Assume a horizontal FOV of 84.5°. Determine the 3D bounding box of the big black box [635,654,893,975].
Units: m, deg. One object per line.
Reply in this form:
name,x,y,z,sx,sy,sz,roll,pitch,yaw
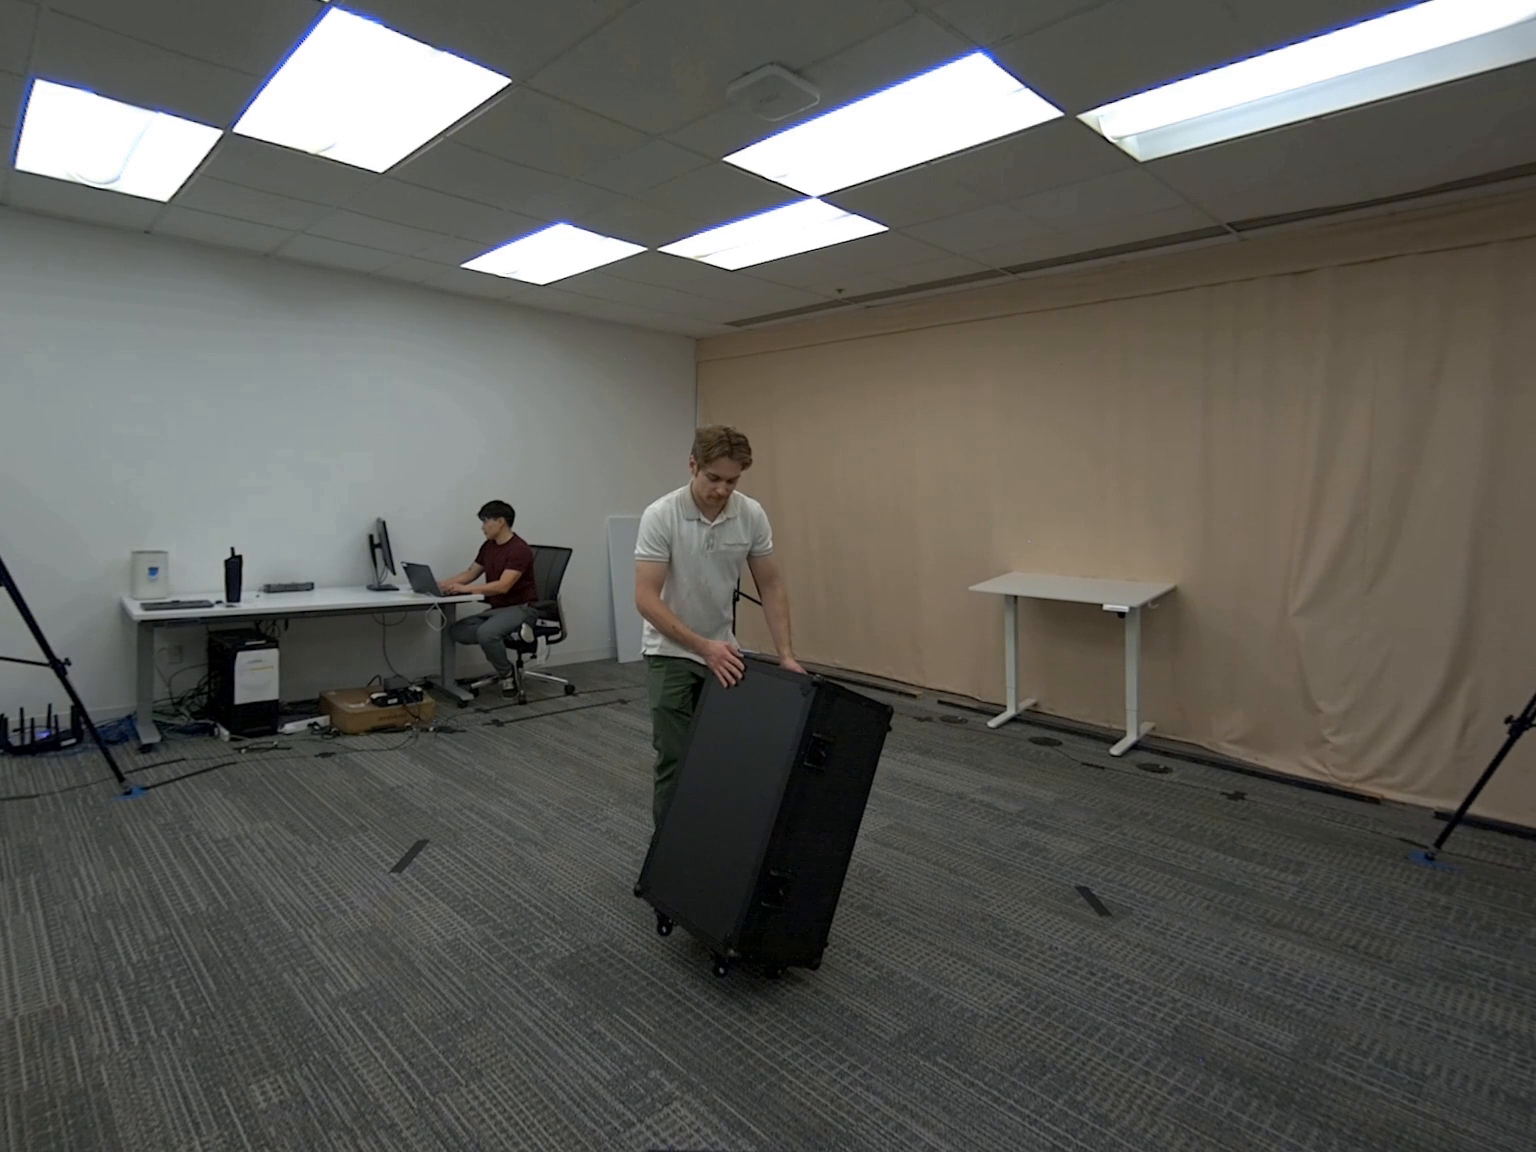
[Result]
big black box,-0.015,0.724,2.559,0.384,0.866,0.534,27,-14,-39
